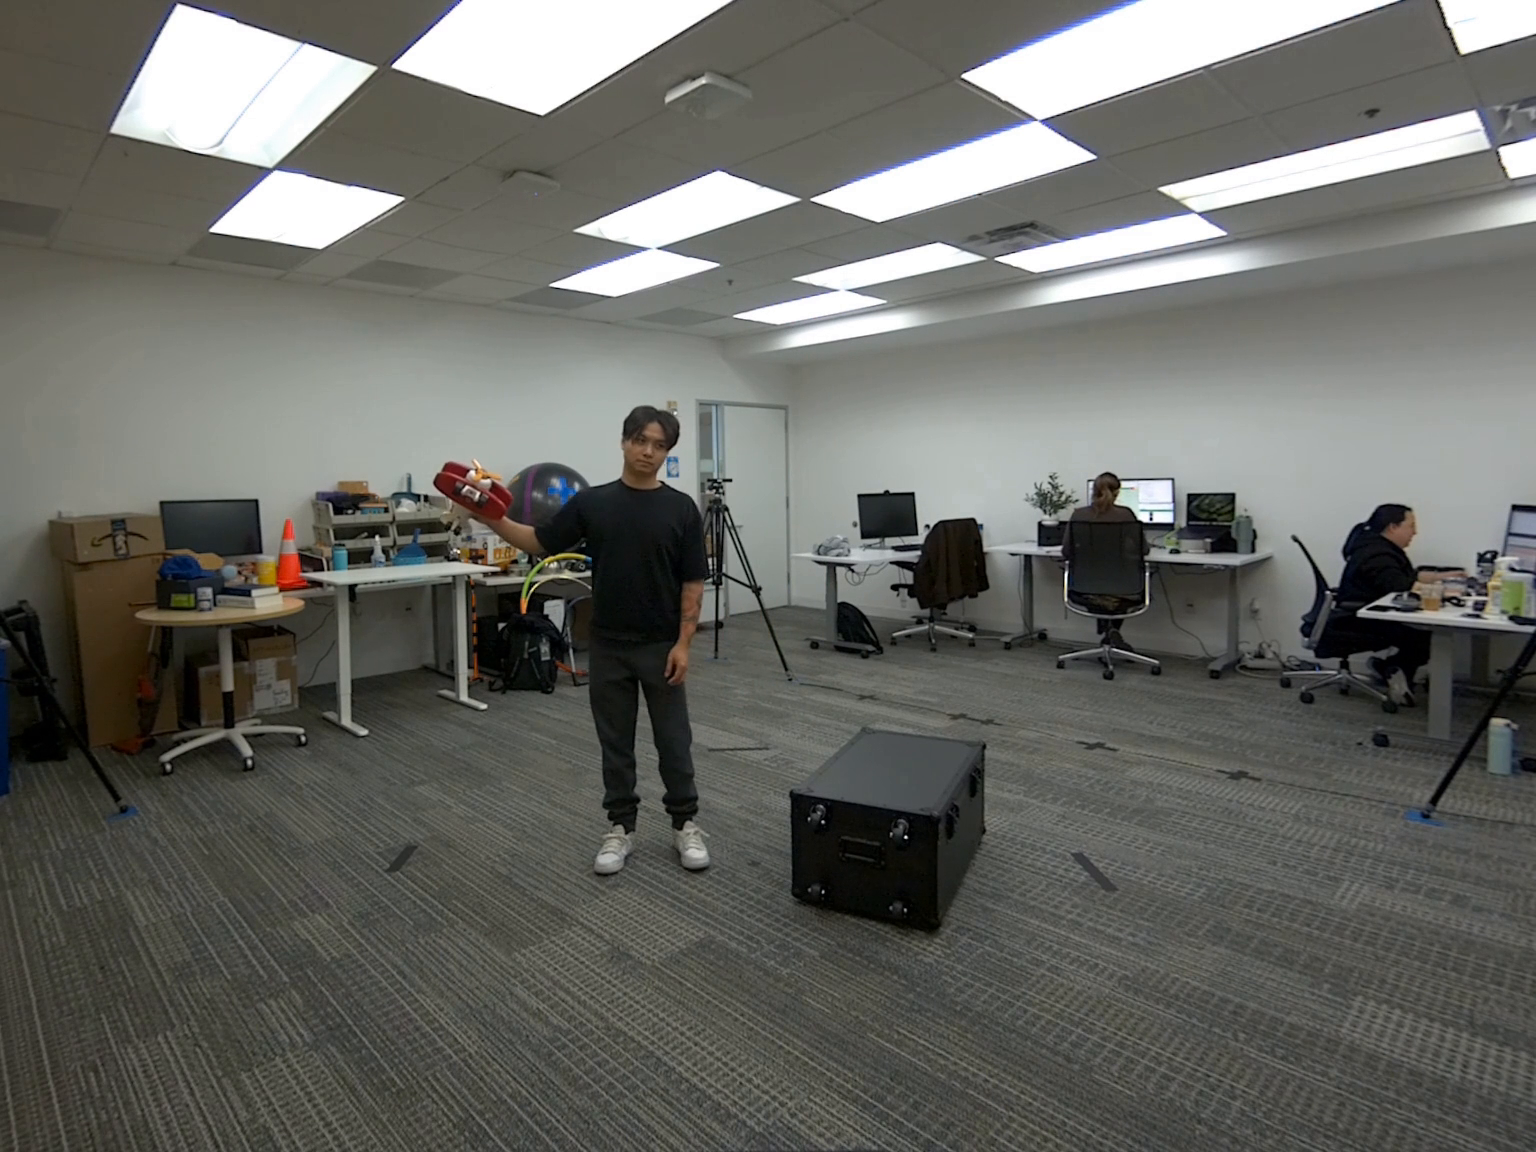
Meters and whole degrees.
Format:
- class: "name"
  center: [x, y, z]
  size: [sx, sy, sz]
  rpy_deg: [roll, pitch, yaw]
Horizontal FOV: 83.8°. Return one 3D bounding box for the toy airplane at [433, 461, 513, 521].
- class: "toy airplane"
  center: [-1.025, -0.264, 2.902]
  size: [0.263, 0.243, 0.159]
  rpy_deg: [-17, 35, 27]
